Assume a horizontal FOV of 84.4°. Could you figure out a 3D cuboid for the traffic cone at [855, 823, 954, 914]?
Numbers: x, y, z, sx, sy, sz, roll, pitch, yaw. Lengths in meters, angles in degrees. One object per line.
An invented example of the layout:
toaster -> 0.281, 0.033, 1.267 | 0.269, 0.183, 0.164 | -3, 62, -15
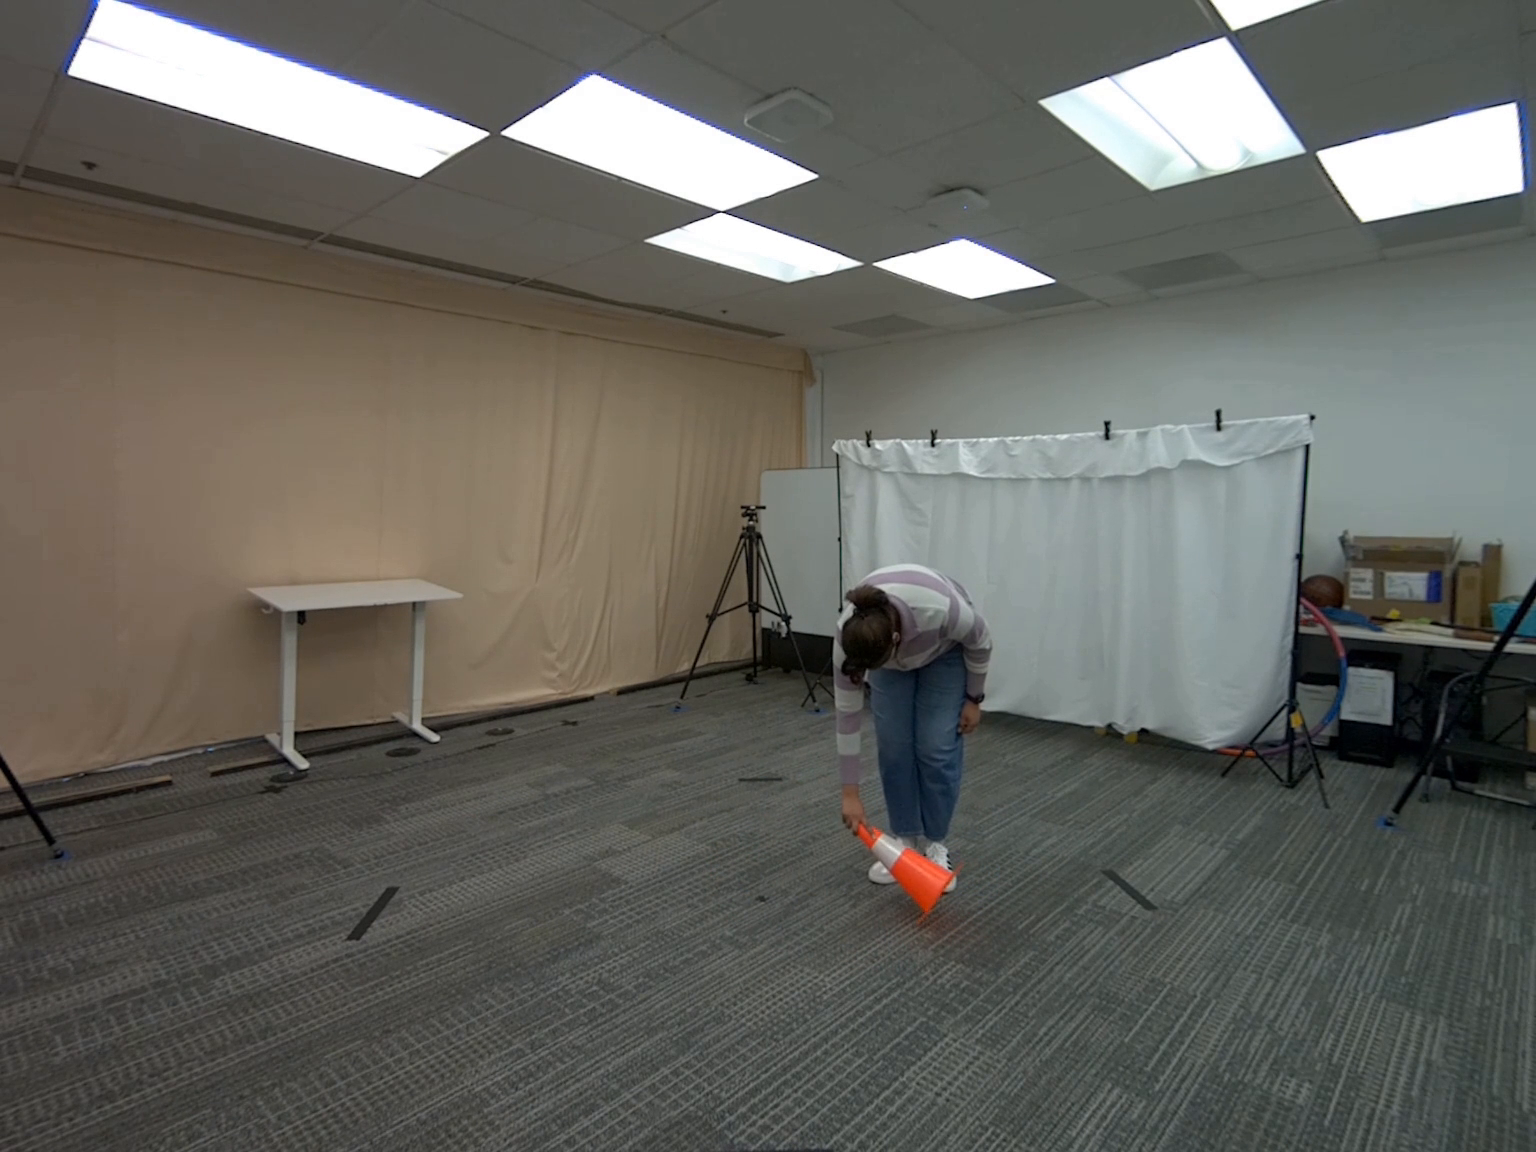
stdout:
traffic cone -> 0.426, 0.944, 2.870 | 0.394, 0.203, 0.200 | 37, 45, 23
